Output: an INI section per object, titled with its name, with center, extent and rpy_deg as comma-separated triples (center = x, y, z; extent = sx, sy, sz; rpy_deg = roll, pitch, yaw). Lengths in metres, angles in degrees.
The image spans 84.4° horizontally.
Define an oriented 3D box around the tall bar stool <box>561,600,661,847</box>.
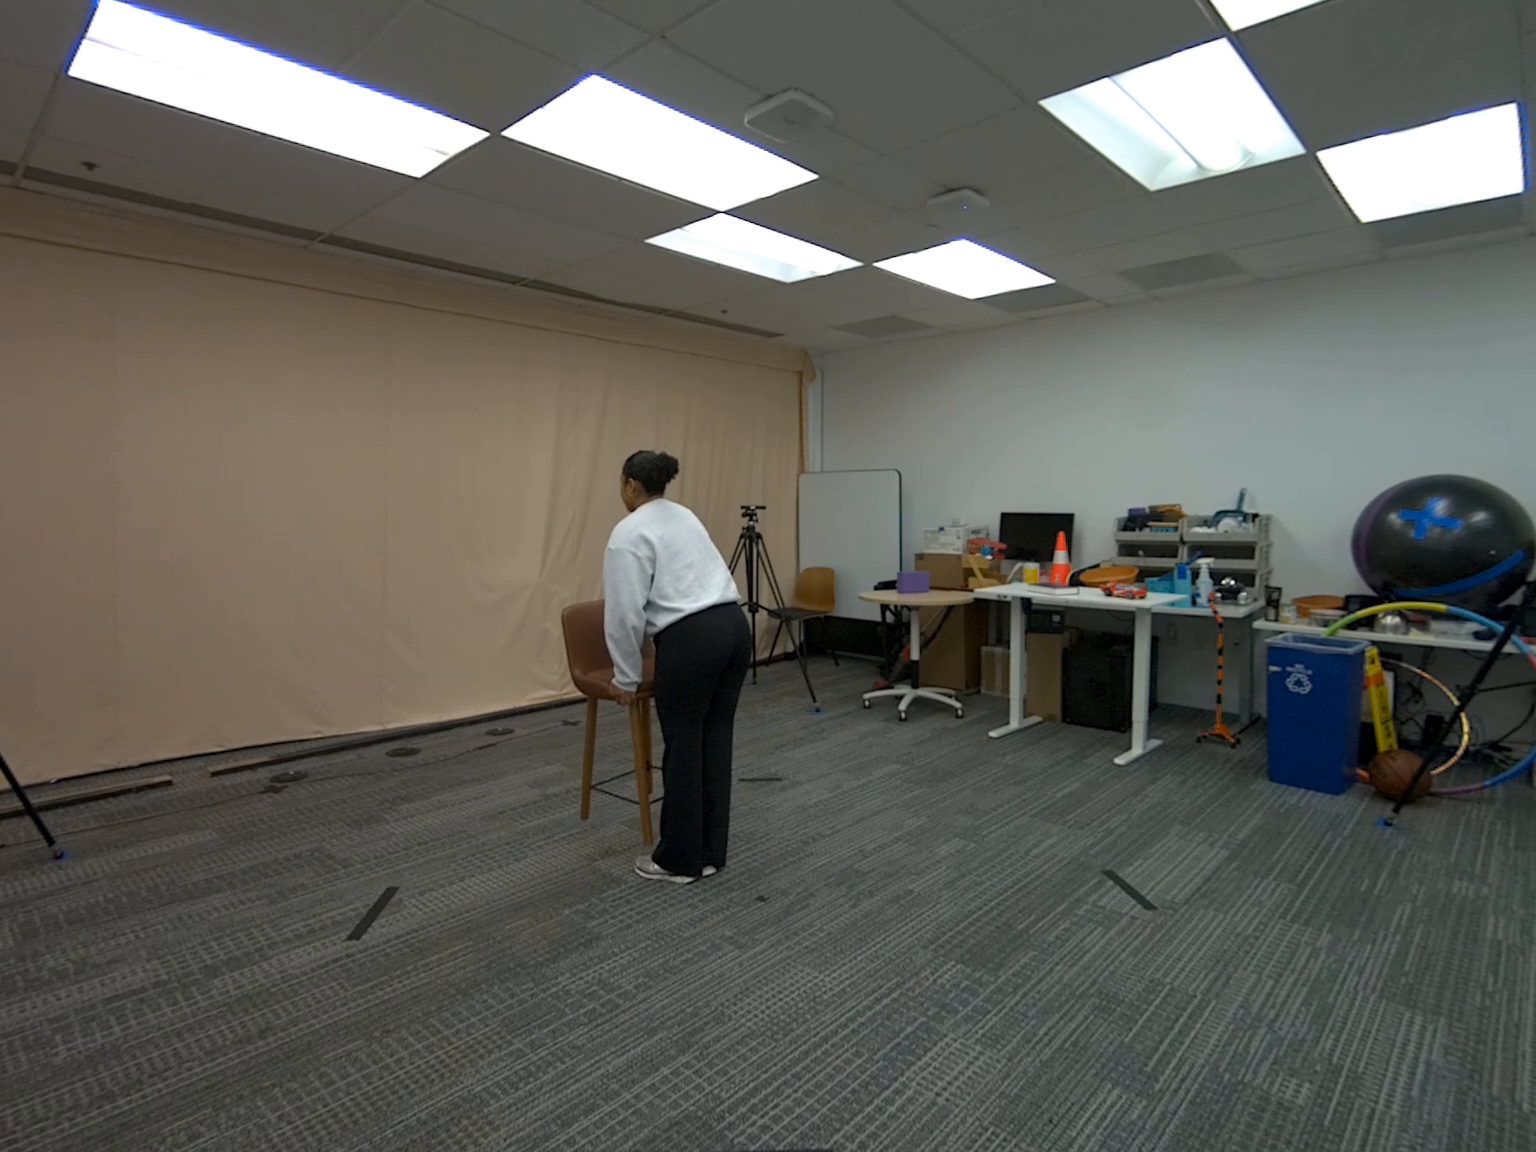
[tall bar stool]
center = -0.519, 0.548, 3.387
extent = 0.482, 0.887, 0.443
rpy_deg = -2, 5, 44
